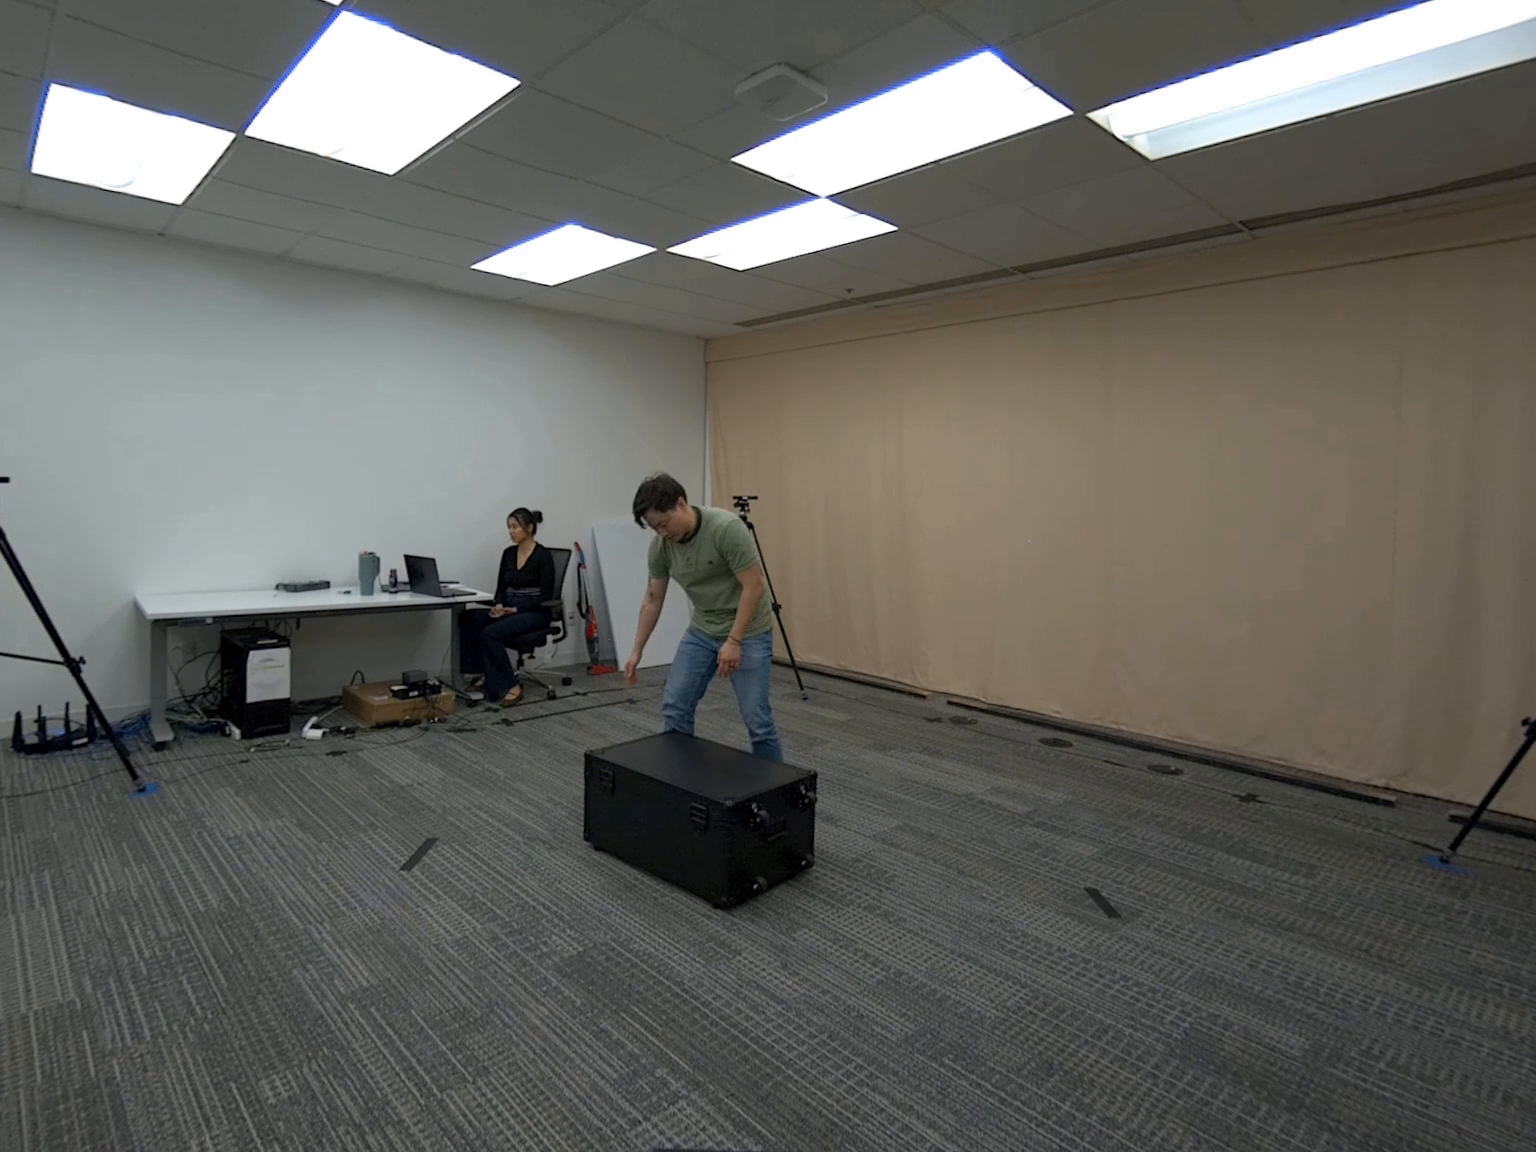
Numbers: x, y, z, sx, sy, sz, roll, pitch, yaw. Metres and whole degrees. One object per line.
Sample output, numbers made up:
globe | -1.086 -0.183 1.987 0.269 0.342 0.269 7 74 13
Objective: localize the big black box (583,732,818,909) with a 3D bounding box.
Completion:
big black box | -0.257 0.902 3.201 0.883 0.395 0.509 5 5 41
